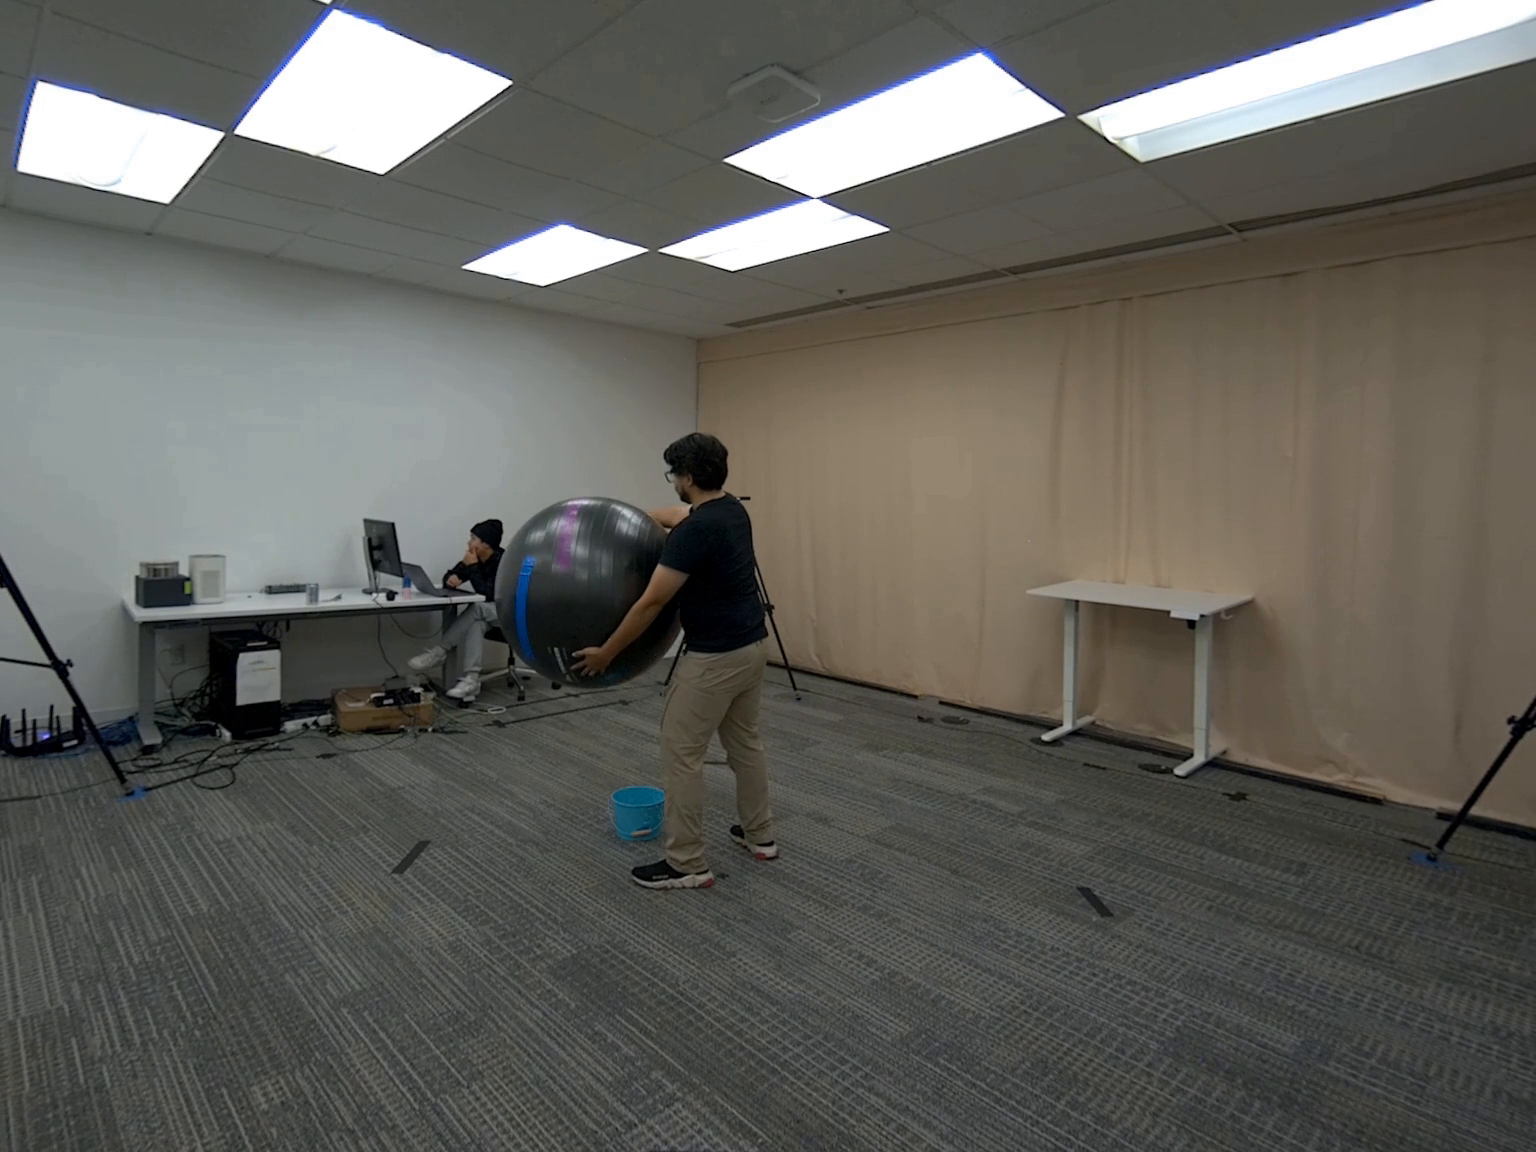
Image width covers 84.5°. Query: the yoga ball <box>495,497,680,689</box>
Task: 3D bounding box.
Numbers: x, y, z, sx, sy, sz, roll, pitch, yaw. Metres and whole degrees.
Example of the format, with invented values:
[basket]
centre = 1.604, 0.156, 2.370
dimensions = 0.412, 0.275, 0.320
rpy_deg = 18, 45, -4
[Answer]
[yoga ball]
centre = -0.704, 0.068, 3.349
dimensions = 0.757, 0.756, 0.761
rpy_deg = 1, 4, -1
